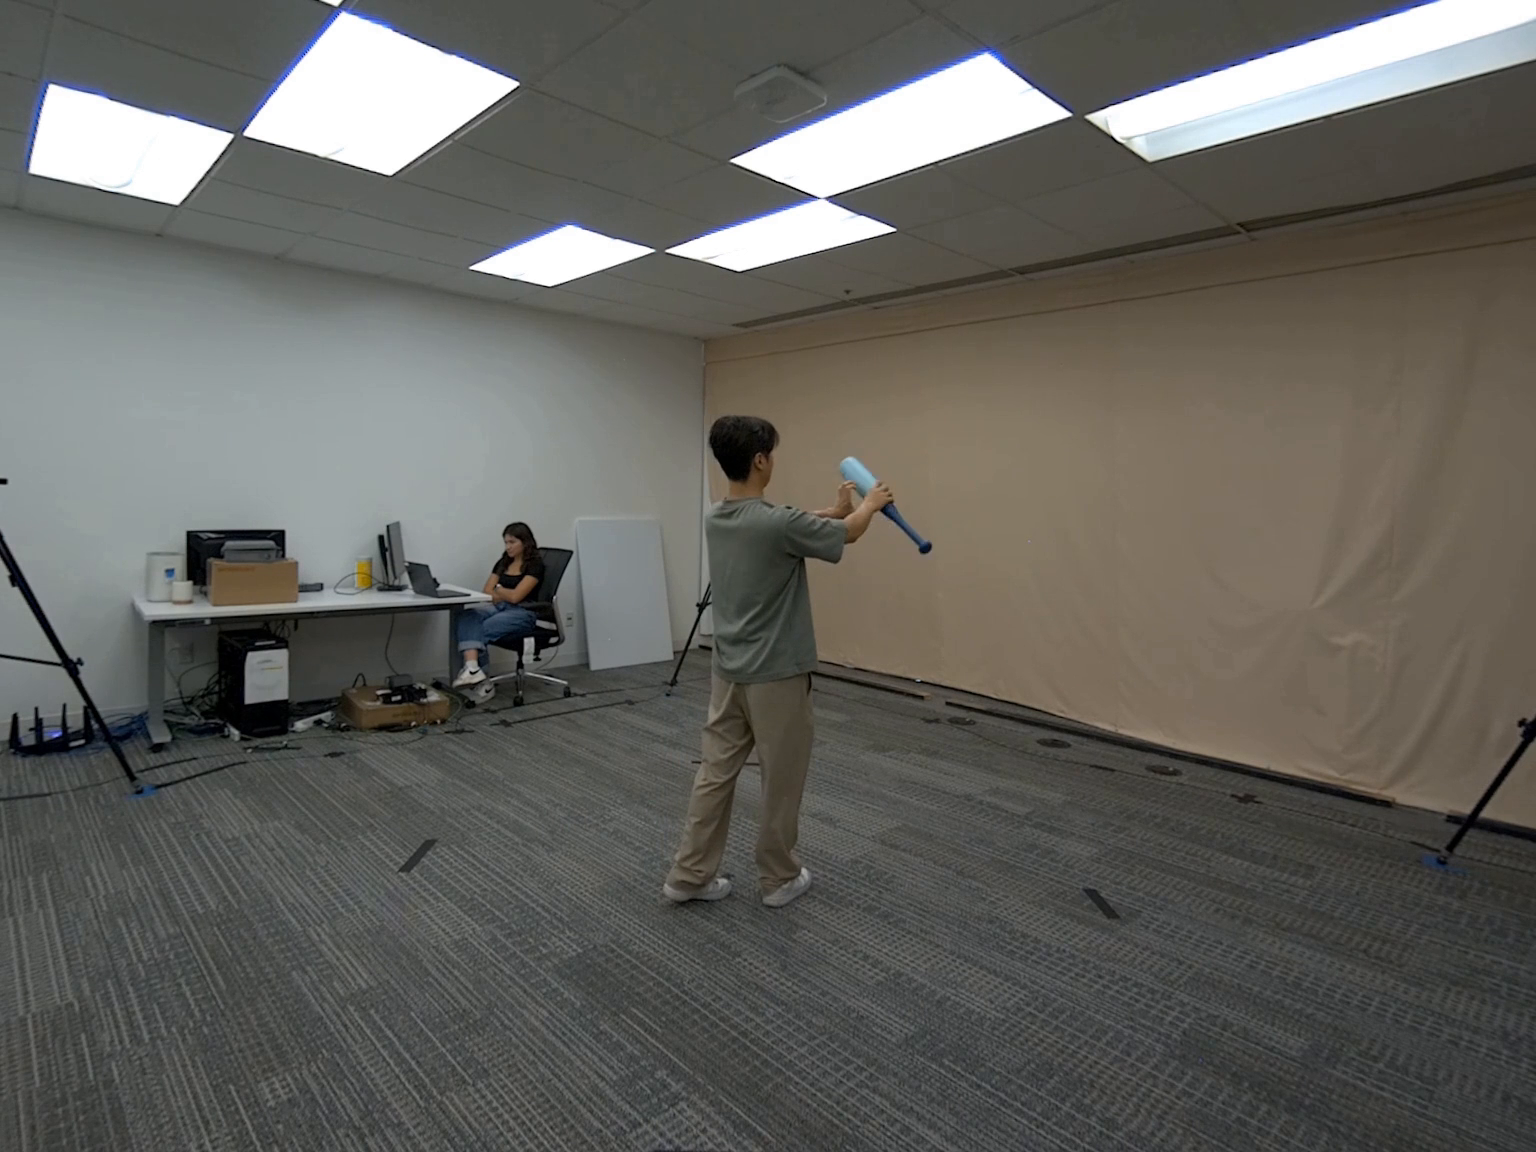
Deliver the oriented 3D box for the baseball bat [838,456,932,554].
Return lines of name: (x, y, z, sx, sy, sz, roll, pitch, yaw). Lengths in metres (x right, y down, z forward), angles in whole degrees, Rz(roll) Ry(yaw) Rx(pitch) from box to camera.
baseball bat: (0.416, -0.264, 3.107, 0.087, 0.088, 0.560, -1, 40, -34)
